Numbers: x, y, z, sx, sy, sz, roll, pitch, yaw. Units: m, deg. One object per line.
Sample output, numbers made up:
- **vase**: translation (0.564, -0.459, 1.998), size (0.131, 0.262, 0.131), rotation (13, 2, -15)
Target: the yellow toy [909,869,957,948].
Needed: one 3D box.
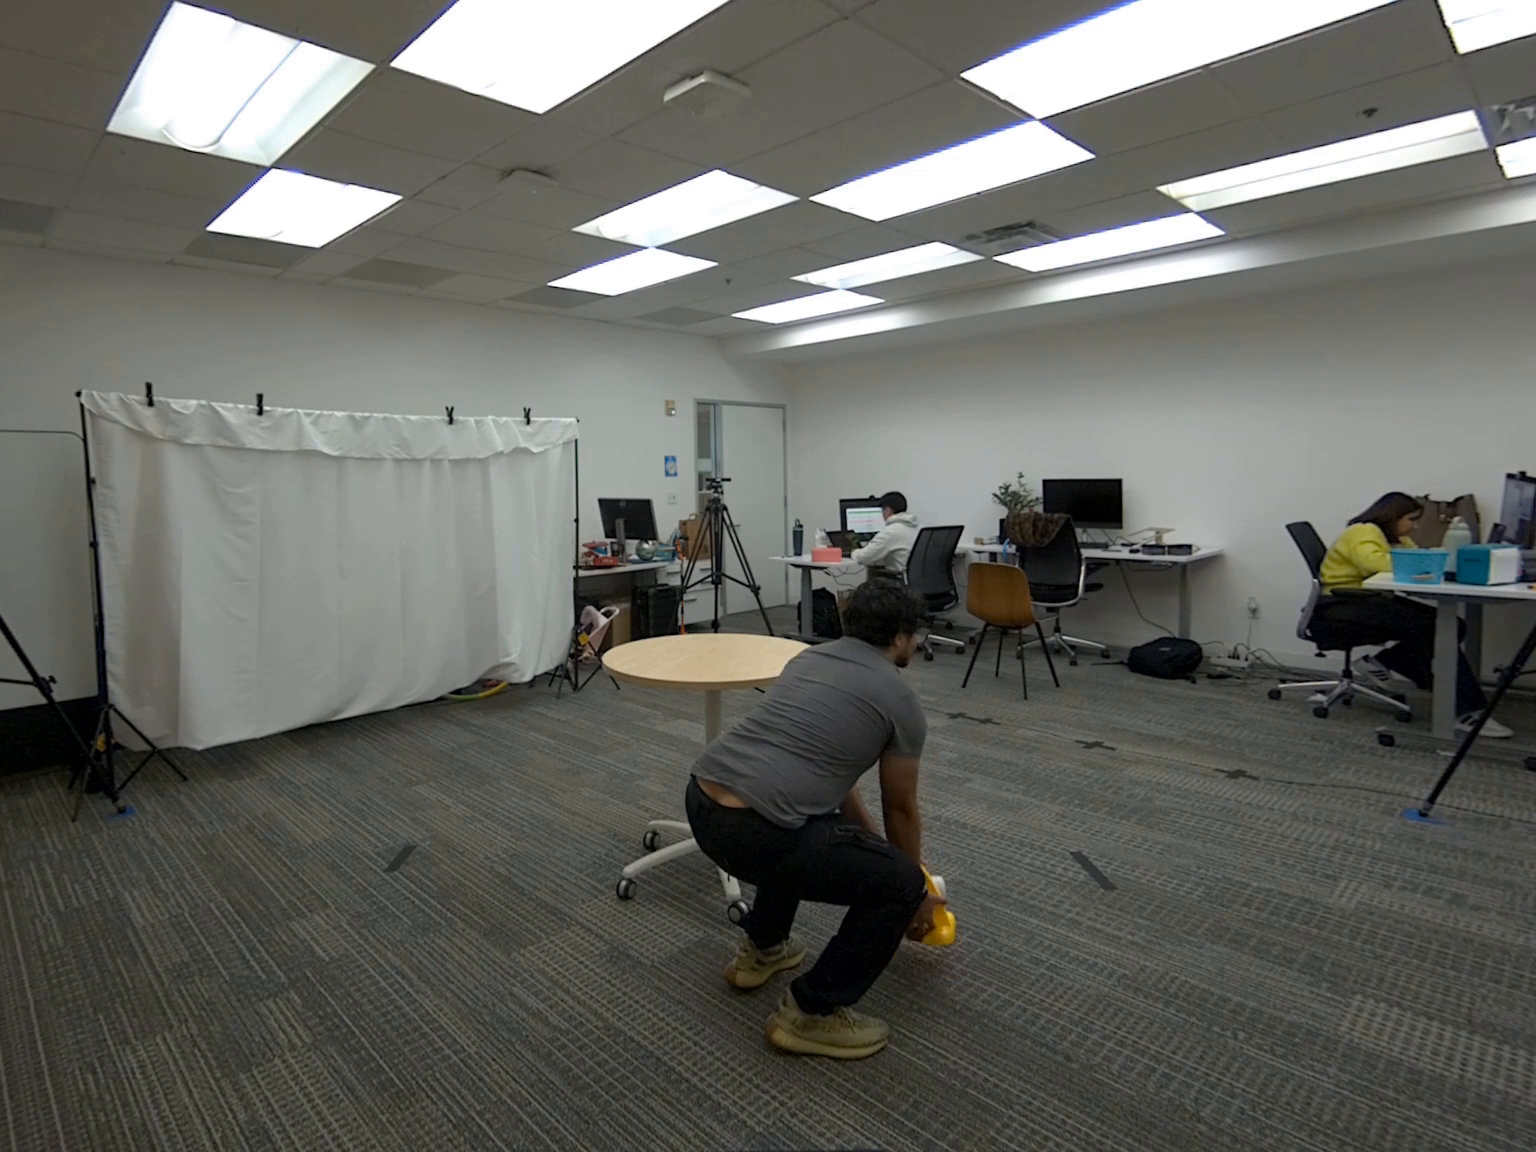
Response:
- **yellow toy**: translation (0.443, 0.904, 2.452), size (0.209, 0.229, 0.190), rotation (4, 7, 23)
